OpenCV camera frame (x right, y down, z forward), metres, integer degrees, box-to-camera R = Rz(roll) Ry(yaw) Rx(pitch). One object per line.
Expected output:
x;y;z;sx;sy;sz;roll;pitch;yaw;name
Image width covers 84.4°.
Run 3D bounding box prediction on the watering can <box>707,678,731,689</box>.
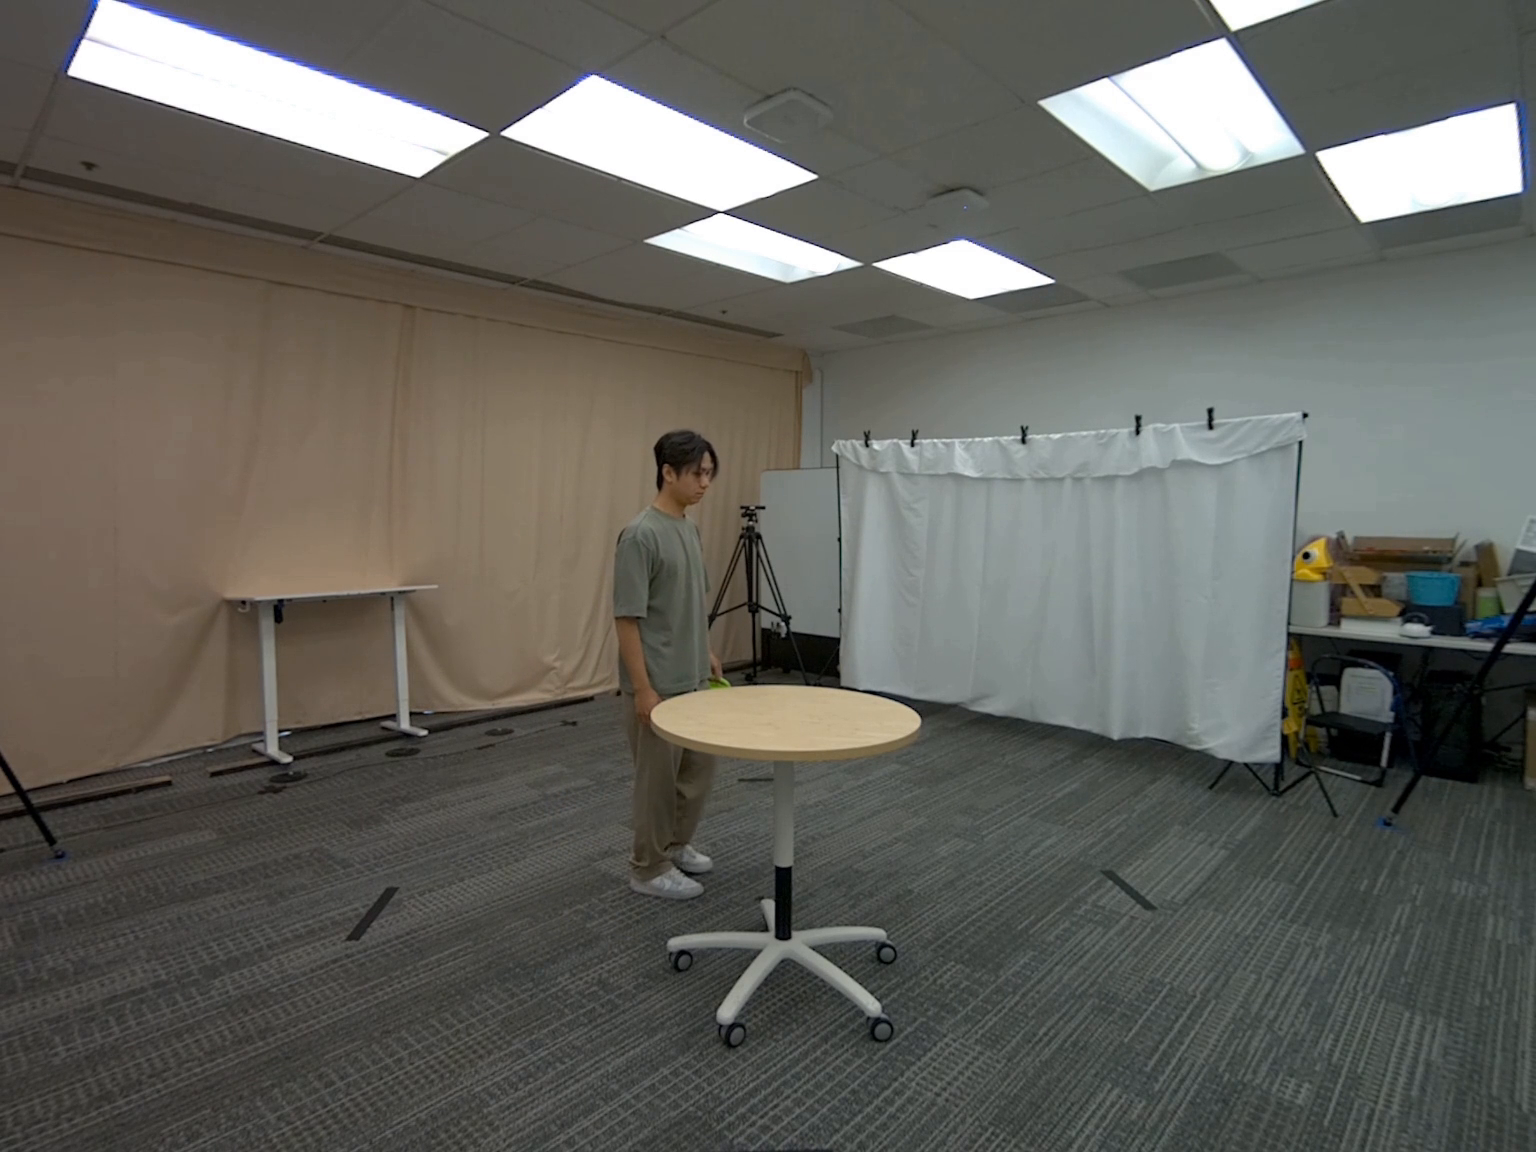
-0.166;0.488;3.271;0.284;0.176;0.096;15;6;18;watering can
